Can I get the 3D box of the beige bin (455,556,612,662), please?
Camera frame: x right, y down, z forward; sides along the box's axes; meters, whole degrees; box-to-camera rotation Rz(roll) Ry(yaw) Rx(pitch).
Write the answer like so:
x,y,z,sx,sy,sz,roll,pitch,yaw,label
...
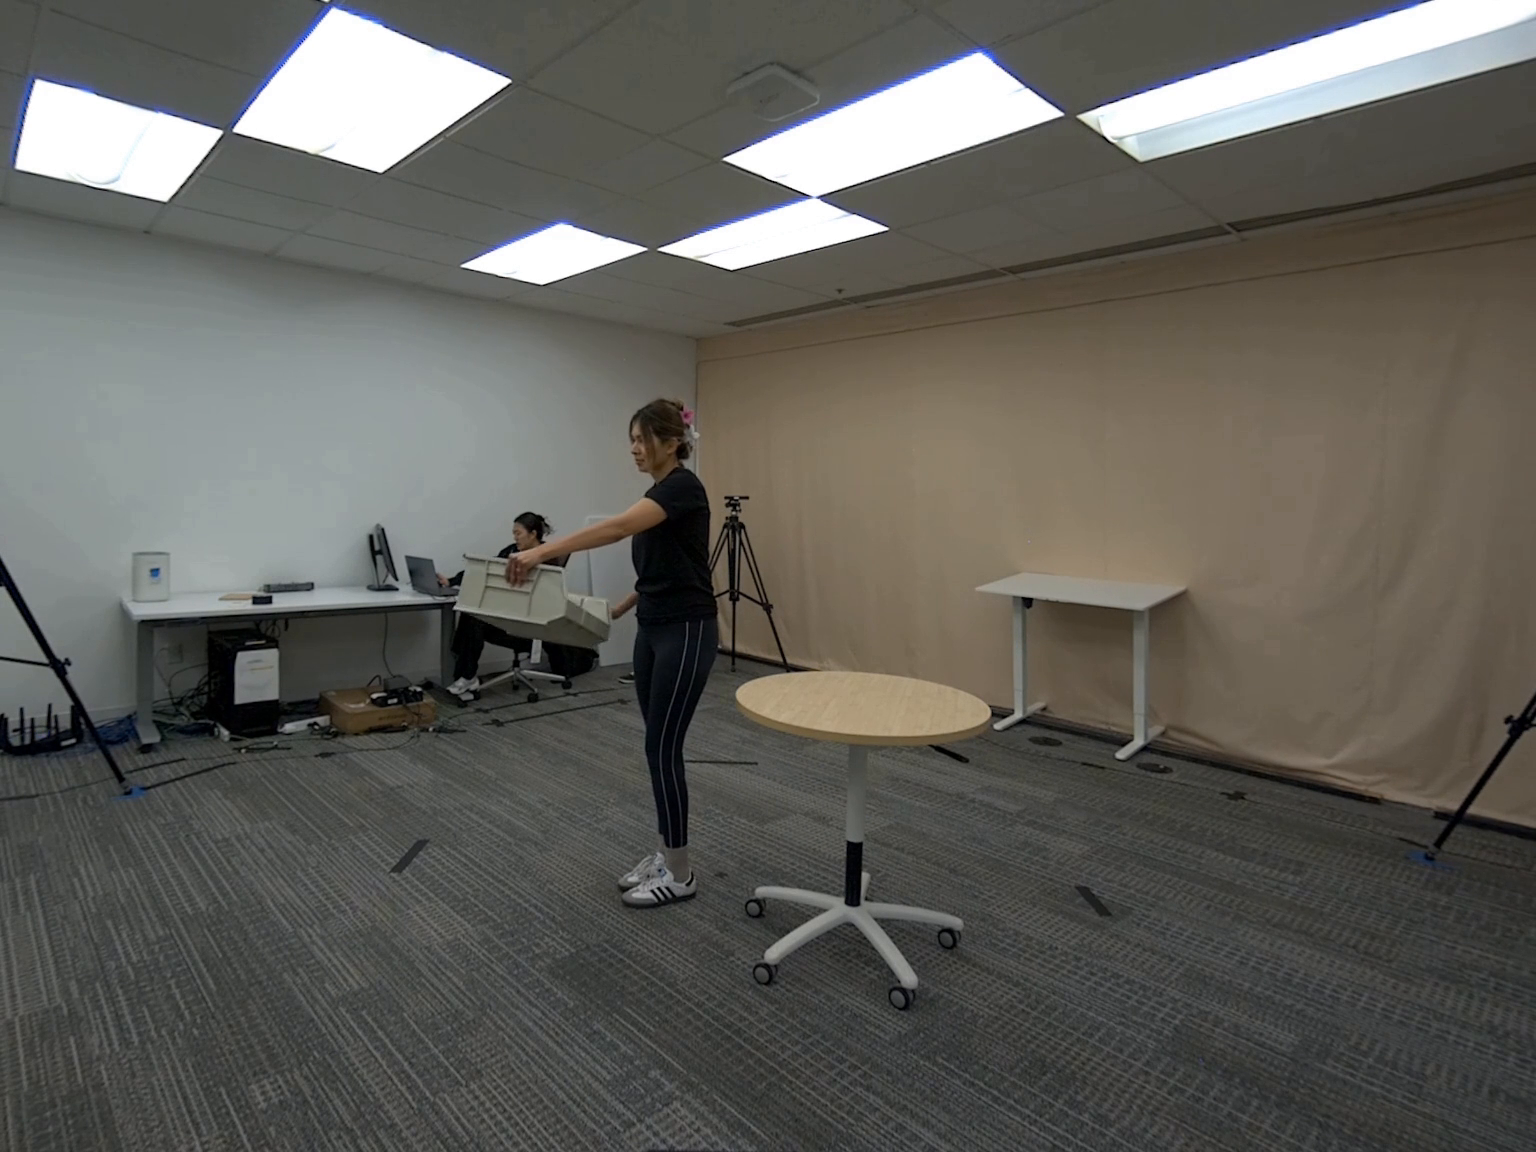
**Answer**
x,y,z,sx,sy,sz,roll,pitch,yaw,label
-0.751,0.095,2.735,0.382,0.190,0.414,7,-14,12,beige bin
